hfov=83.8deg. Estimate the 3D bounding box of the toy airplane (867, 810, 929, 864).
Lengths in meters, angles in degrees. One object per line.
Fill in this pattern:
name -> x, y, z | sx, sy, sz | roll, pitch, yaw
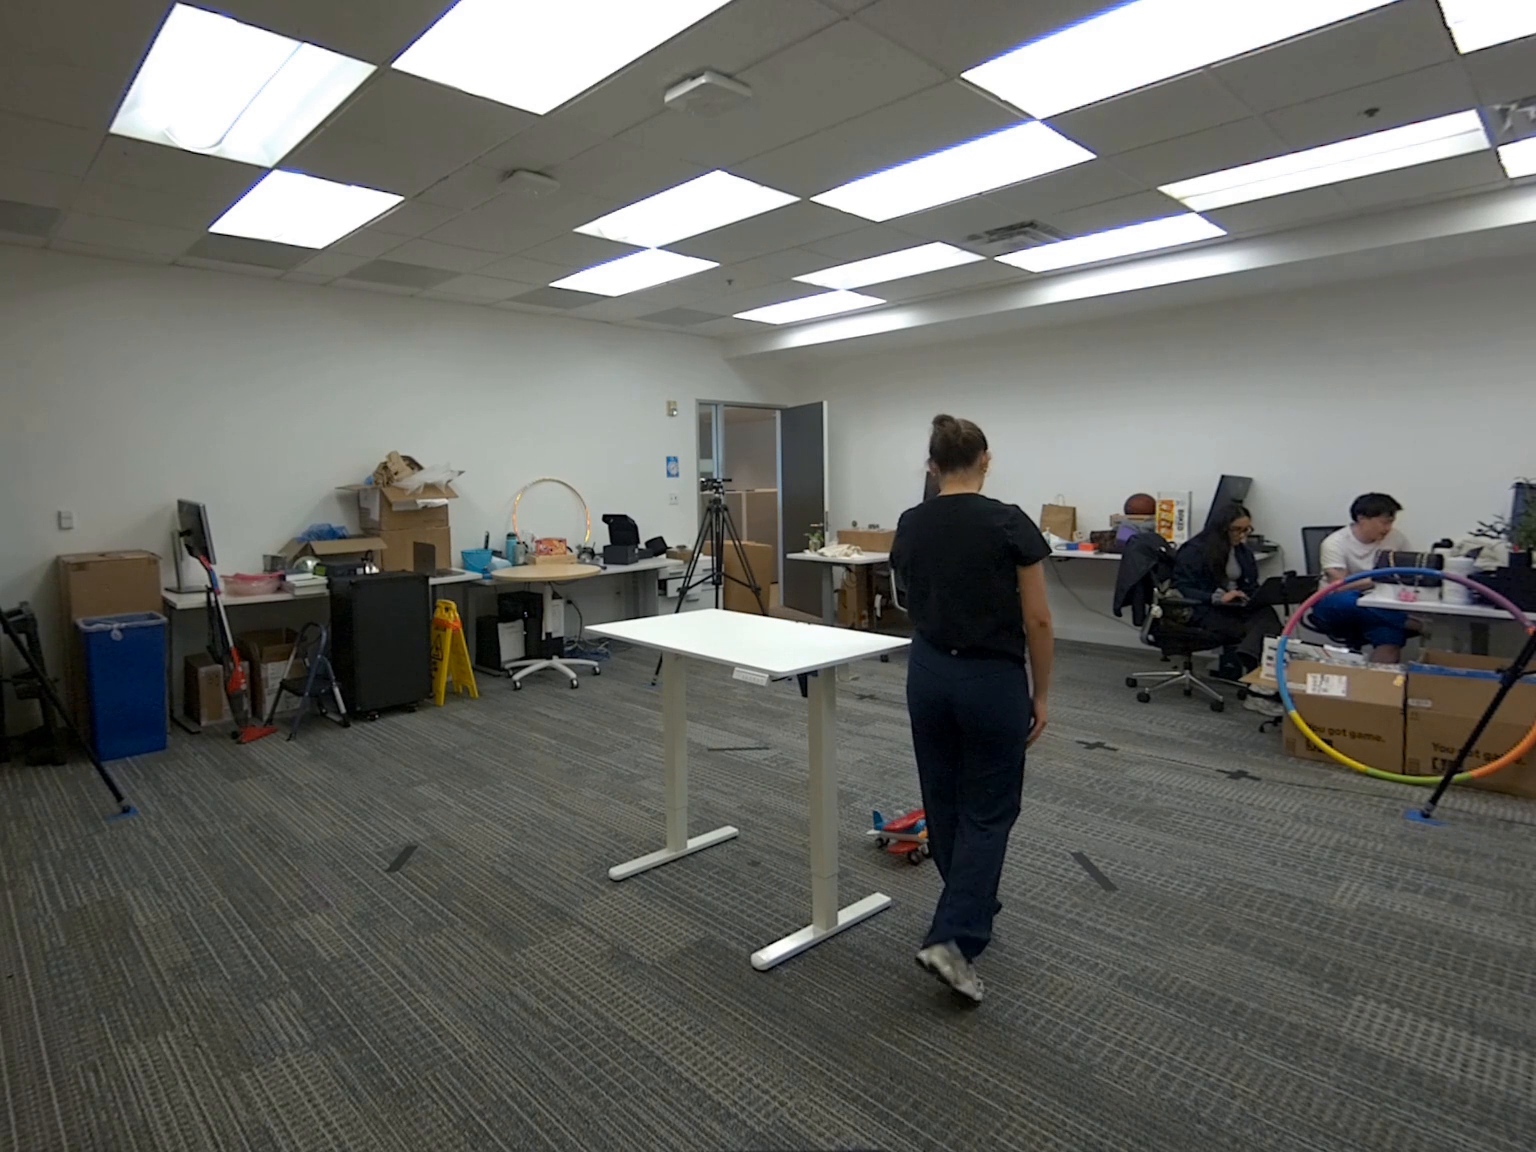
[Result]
toy airplane -> 0.486, 0.953, 3.160 | 0.264, 0.156, 0.248 | 2, 6, 18
